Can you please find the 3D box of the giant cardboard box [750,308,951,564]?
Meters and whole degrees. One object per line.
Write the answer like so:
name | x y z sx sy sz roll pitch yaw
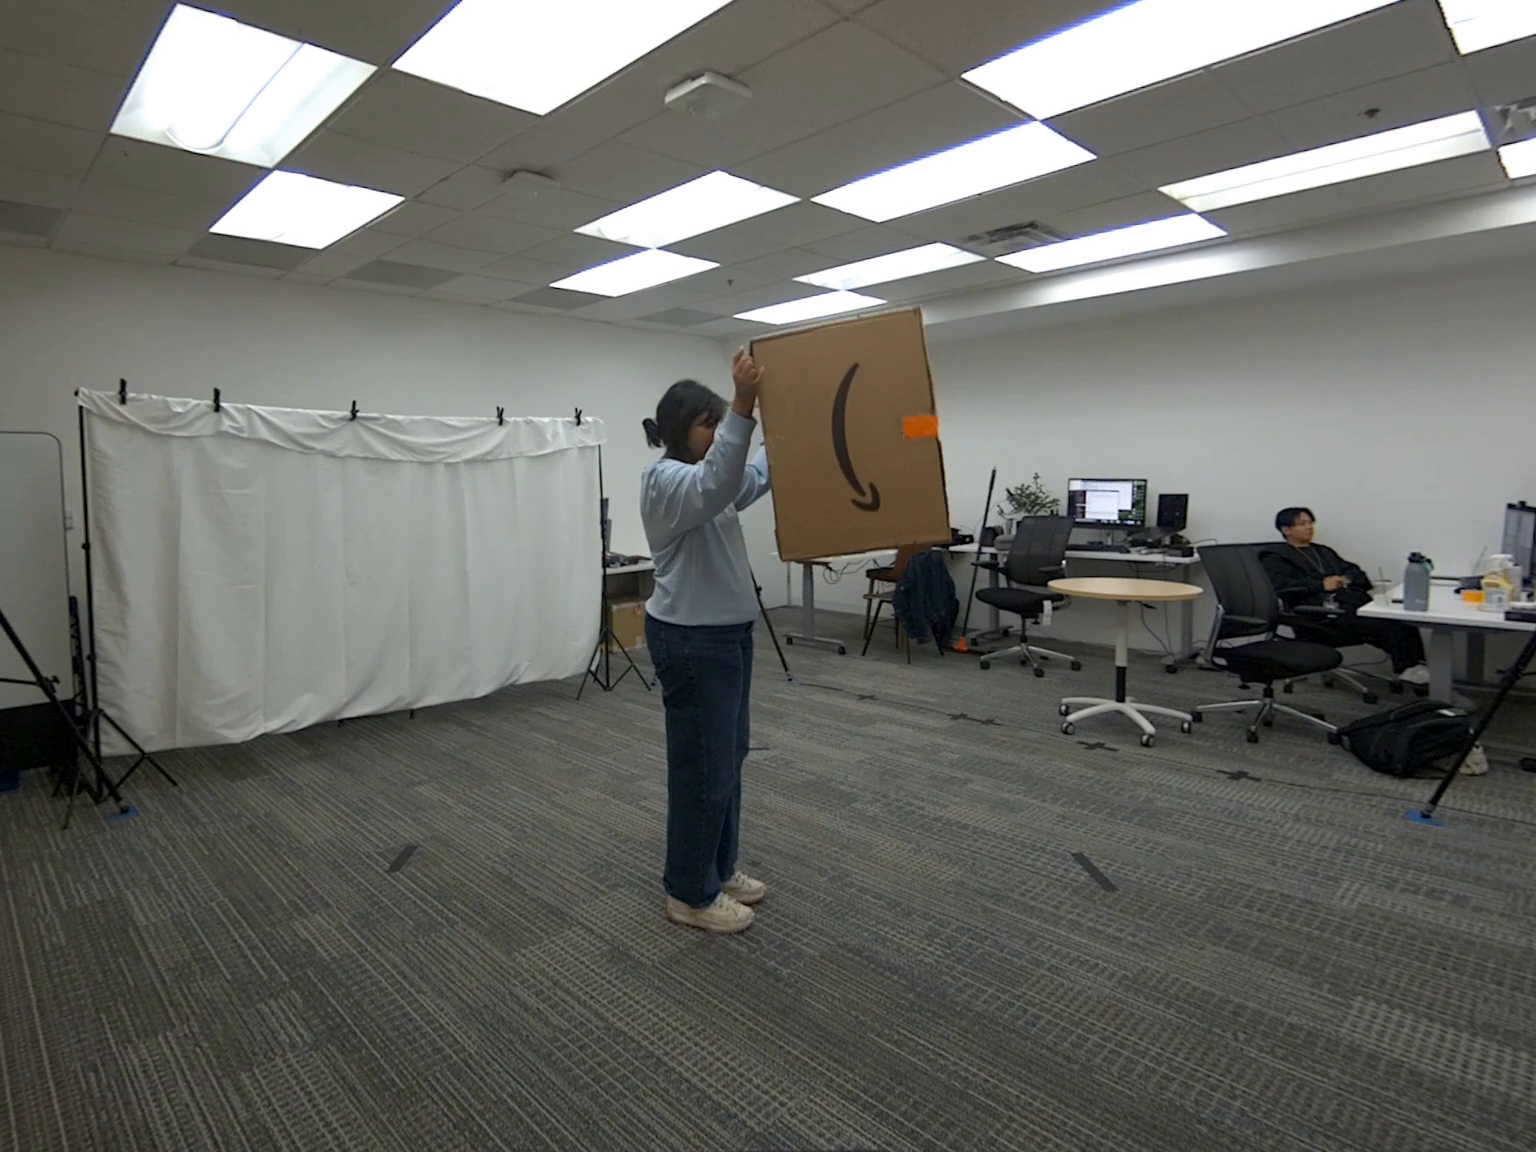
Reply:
giant cardboard box | 0.267 -0.407 2.611 0.430 0.574 1.022 -6 7 10
